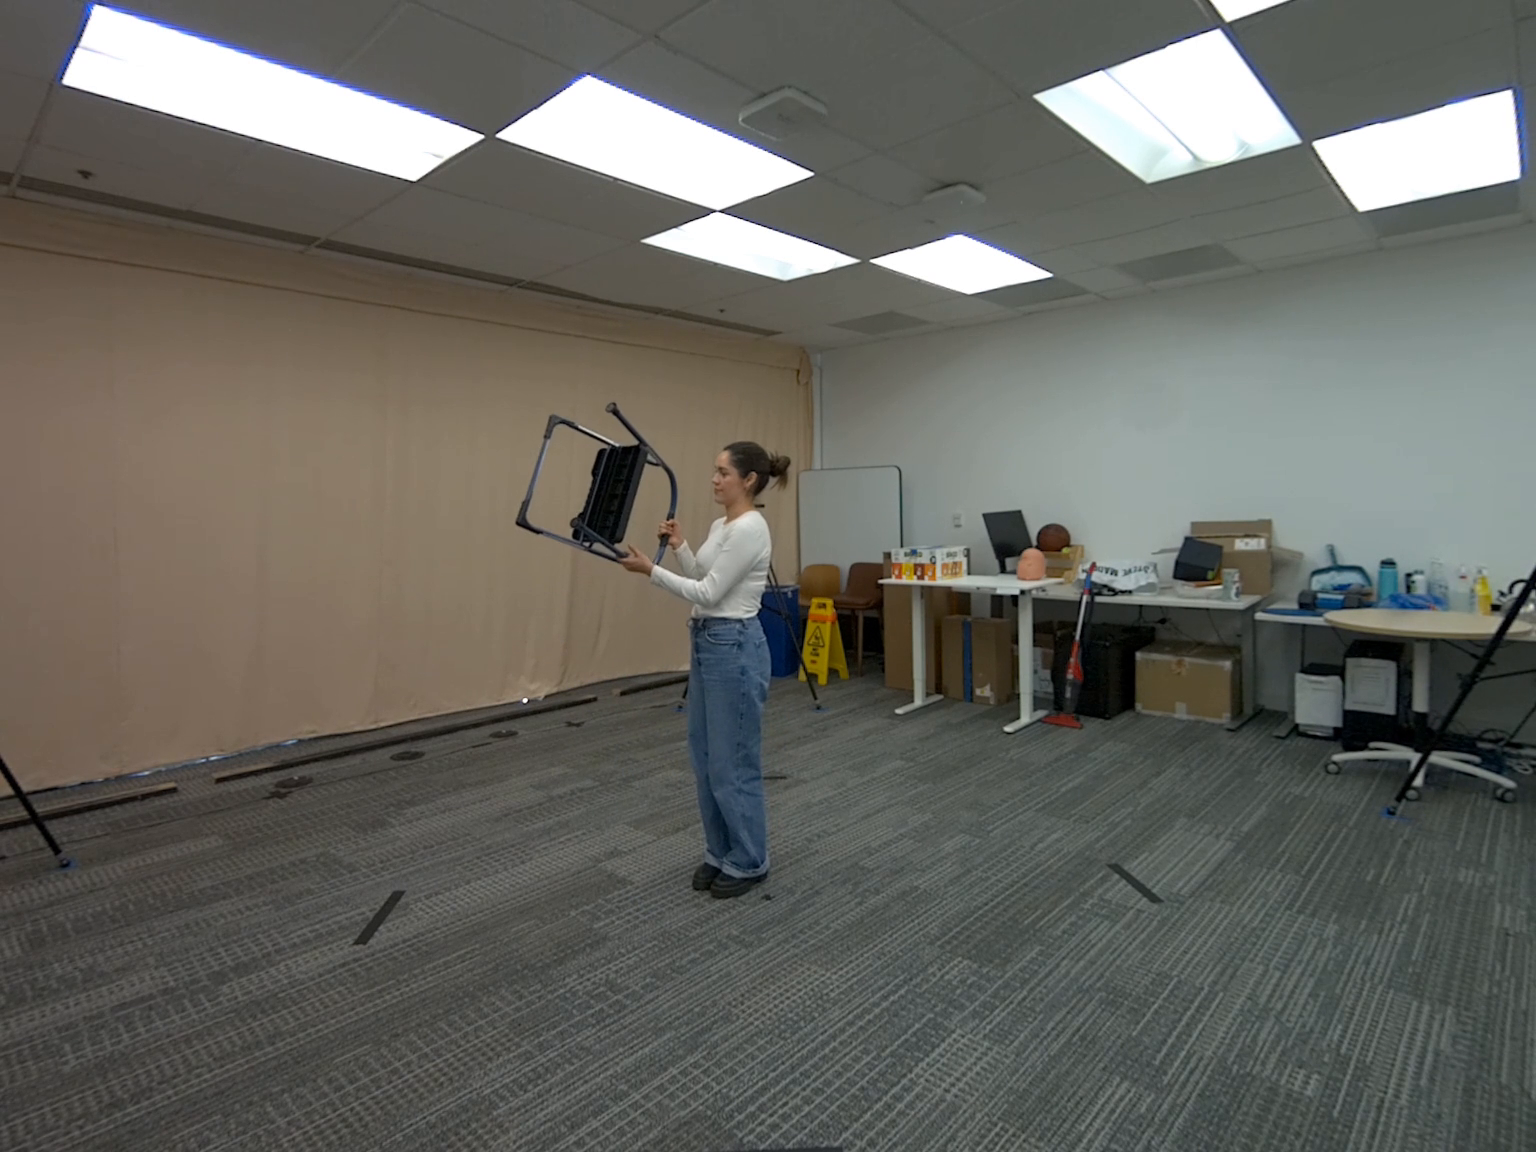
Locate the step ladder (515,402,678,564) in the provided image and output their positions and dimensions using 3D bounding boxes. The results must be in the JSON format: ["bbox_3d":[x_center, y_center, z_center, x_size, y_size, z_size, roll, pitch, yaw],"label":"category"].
[{"bbox_3d":[-0.497,-0.257,2.952,0.360,0.433,0.584,1,-18,40],"label":"step ladder"}]
